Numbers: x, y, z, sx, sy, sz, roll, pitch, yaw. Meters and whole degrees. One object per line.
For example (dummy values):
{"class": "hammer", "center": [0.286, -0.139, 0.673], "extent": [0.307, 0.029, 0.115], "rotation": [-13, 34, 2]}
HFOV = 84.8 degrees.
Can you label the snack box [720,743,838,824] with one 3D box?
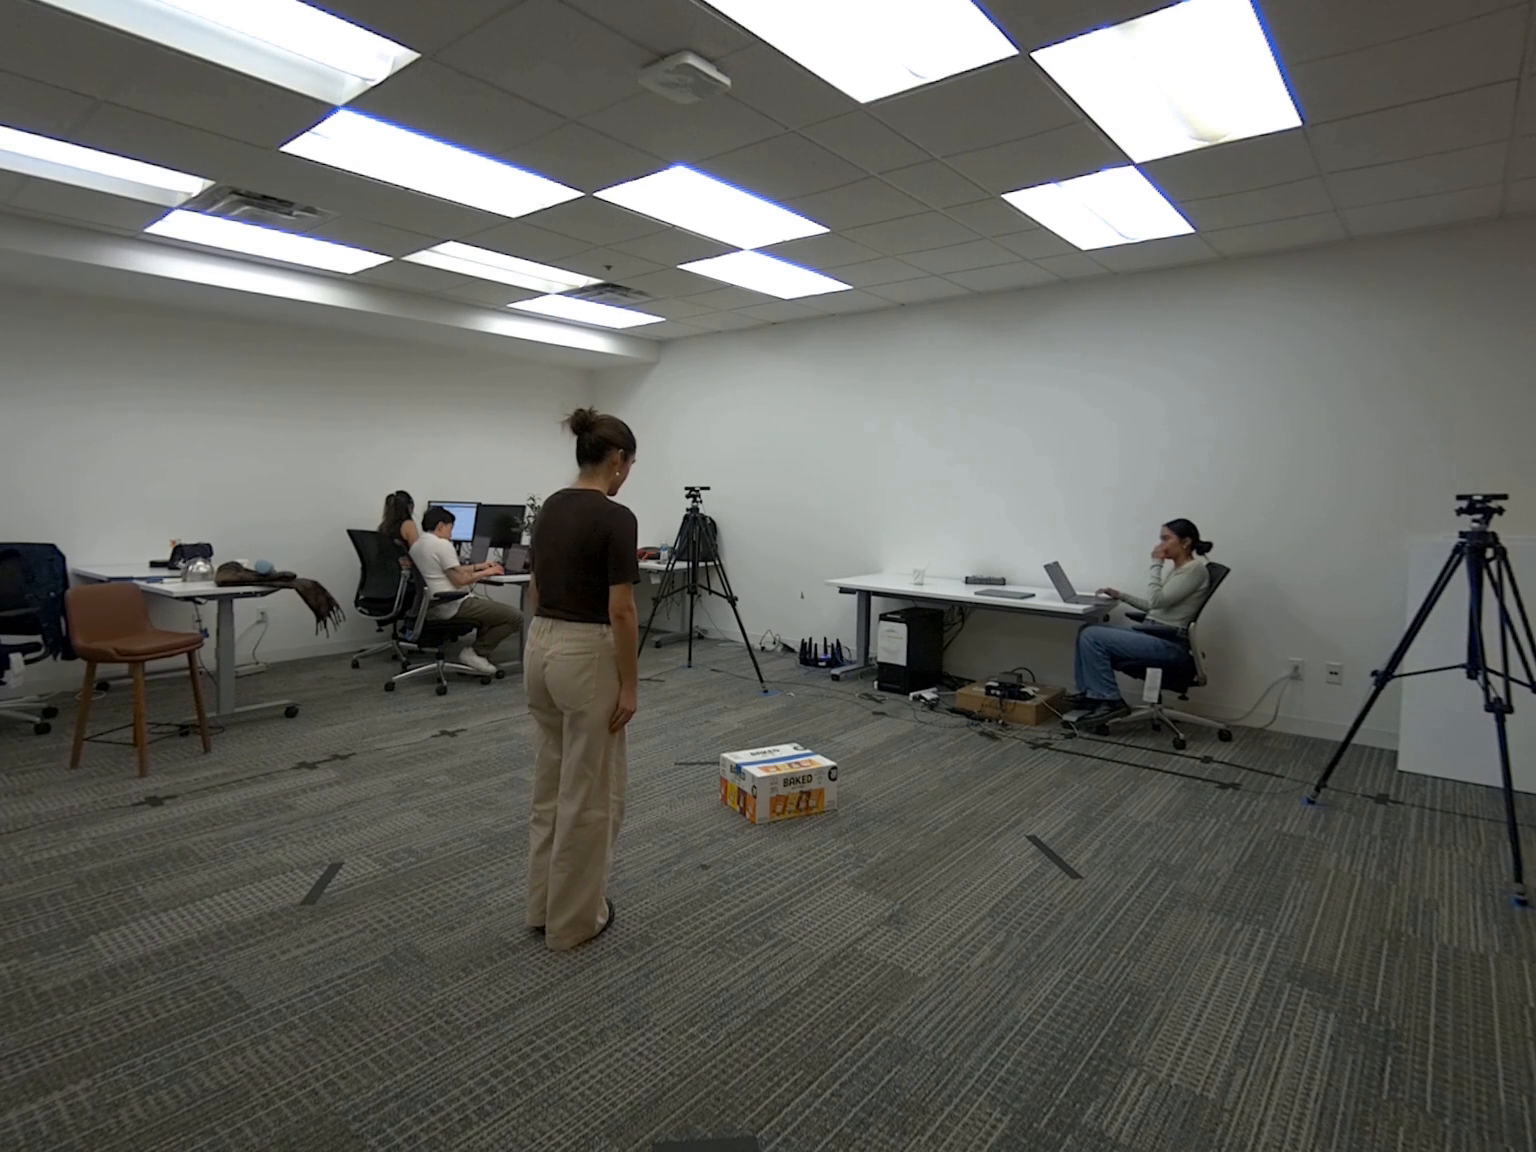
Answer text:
{"class": "snack box", "center": [0.032, 0.903, 3.753], "extent": [0.395, 0.205, 0.350], "rotation": [-2, 6, -29]}
